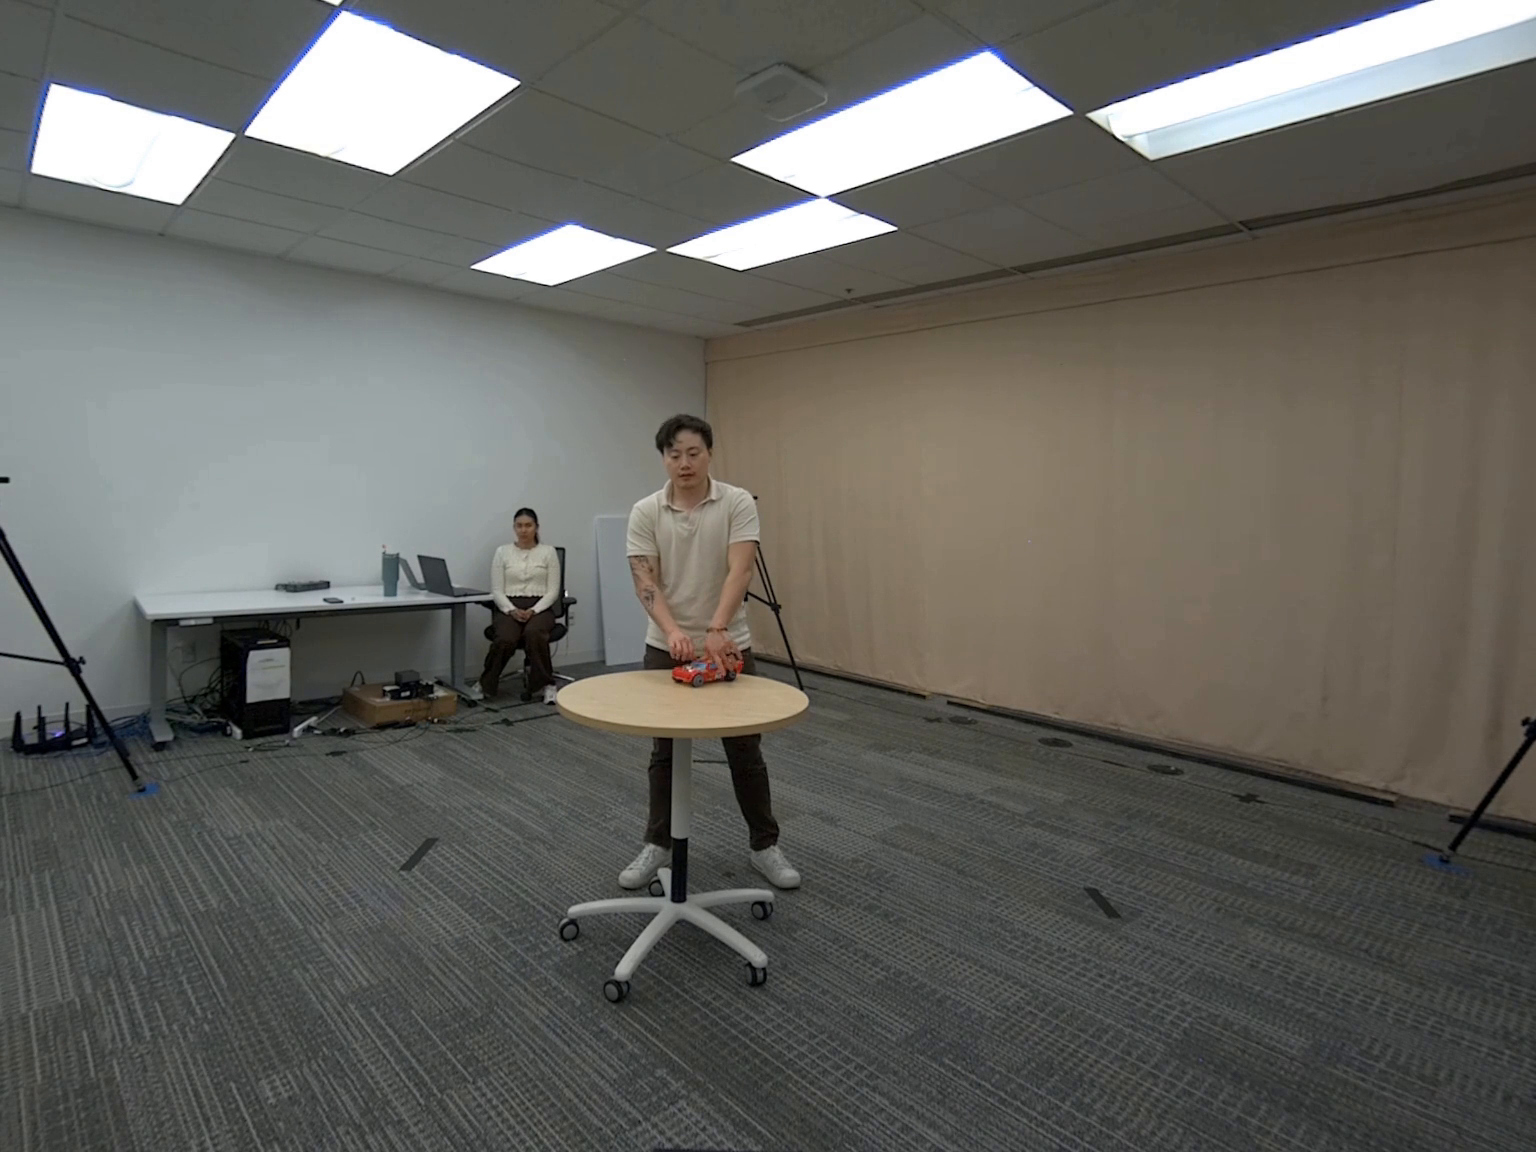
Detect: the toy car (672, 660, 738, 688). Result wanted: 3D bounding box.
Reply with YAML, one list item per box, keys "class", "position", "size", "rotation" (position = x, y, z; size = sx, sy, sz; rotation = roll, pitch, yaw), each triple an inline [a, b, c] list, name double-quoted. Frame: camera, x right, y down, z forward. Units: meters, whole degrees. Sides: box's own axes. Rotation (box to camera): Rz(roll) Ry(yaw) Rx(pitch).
- class: "toy car"
  position: [-0.205, 0.319, 2.784]
  size: [0.250, 0.082, 0.133]
  rotation: [-17, 15, -42]
